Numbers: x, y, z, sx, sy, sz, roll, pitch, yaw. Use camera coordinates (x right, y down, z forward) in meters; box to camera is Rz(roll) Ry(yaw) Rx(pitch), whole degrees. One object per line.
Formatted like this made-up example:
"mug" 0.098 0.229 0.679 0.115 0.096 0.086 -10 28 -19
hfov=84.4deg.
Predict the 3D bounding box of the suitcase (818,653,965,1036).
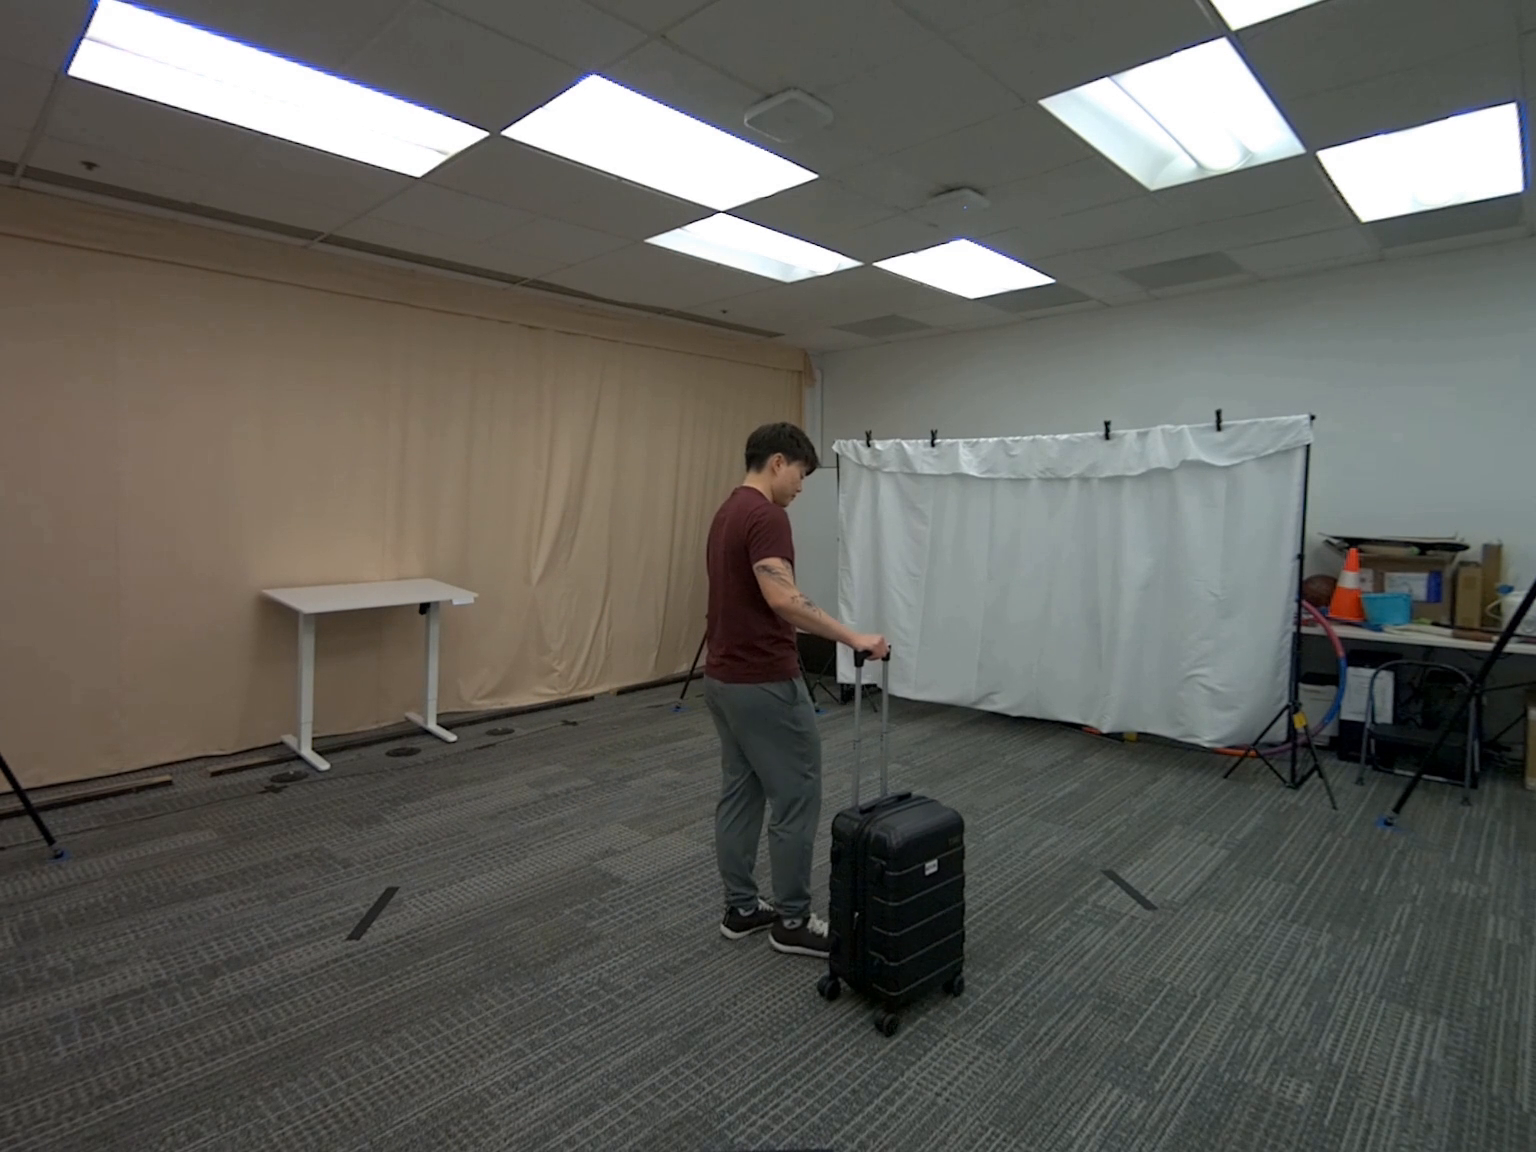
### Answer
"suitcase" 0.388 0.722 2.370 0.372 0.976 0.265 -2 5 -39
